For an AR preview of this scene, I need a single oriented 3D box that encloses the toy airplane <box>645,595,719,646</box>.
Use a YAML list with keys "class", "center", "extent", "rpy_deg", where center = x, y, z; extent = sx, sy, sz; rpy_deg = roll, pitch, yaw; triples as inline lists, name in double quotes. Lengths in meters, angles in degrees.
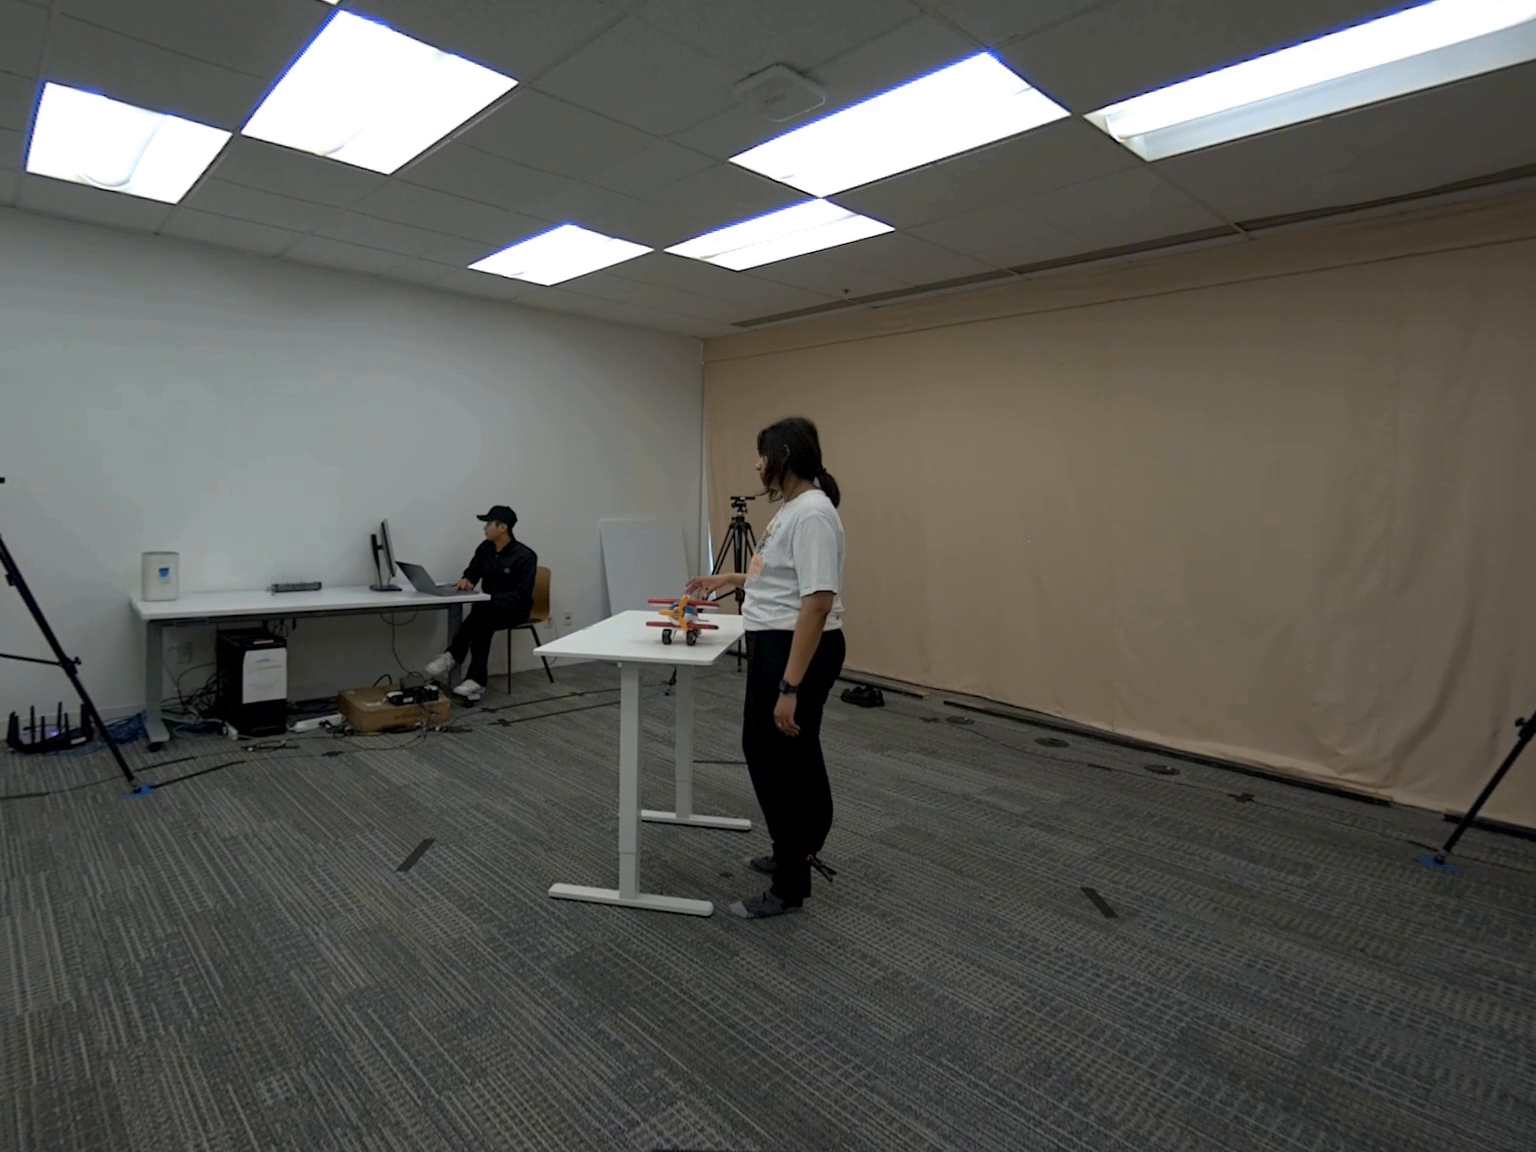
- class: "toy airplane"
  center: [-0.316, 0.153, 2.975]
  extent: [0.248, 0.156, 0.264]
  rpy_deg: [0, 6, -18]
